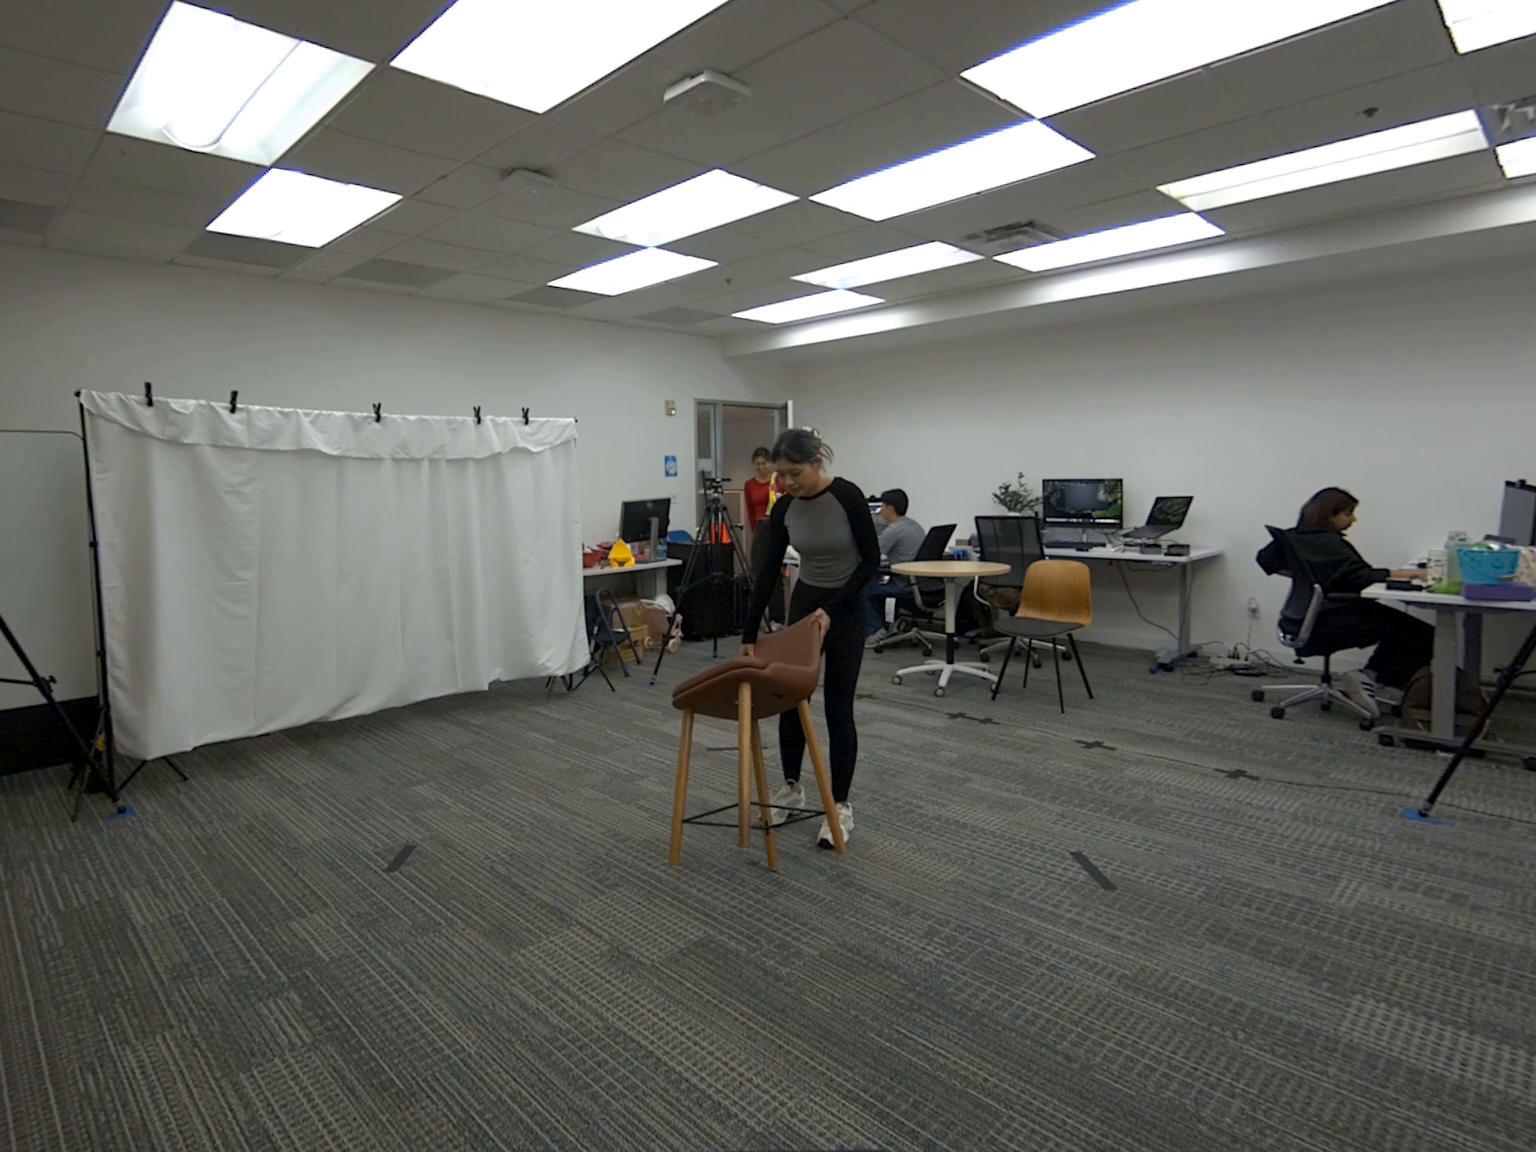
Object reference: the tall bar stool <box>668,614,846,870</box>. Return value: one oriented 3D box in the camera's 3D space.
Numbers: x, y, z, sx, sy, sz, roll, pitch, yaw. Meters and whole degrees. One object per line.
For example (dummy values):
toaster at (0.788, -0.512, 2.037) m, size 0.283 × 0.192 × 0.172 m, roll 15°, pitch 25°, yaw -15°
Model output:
tall bar stool at (-0.053, 0.541, 3.009) m, size 0.452 × 0.911 × 0.461 m, roll 18°, pitch -34°, yaw -35°
